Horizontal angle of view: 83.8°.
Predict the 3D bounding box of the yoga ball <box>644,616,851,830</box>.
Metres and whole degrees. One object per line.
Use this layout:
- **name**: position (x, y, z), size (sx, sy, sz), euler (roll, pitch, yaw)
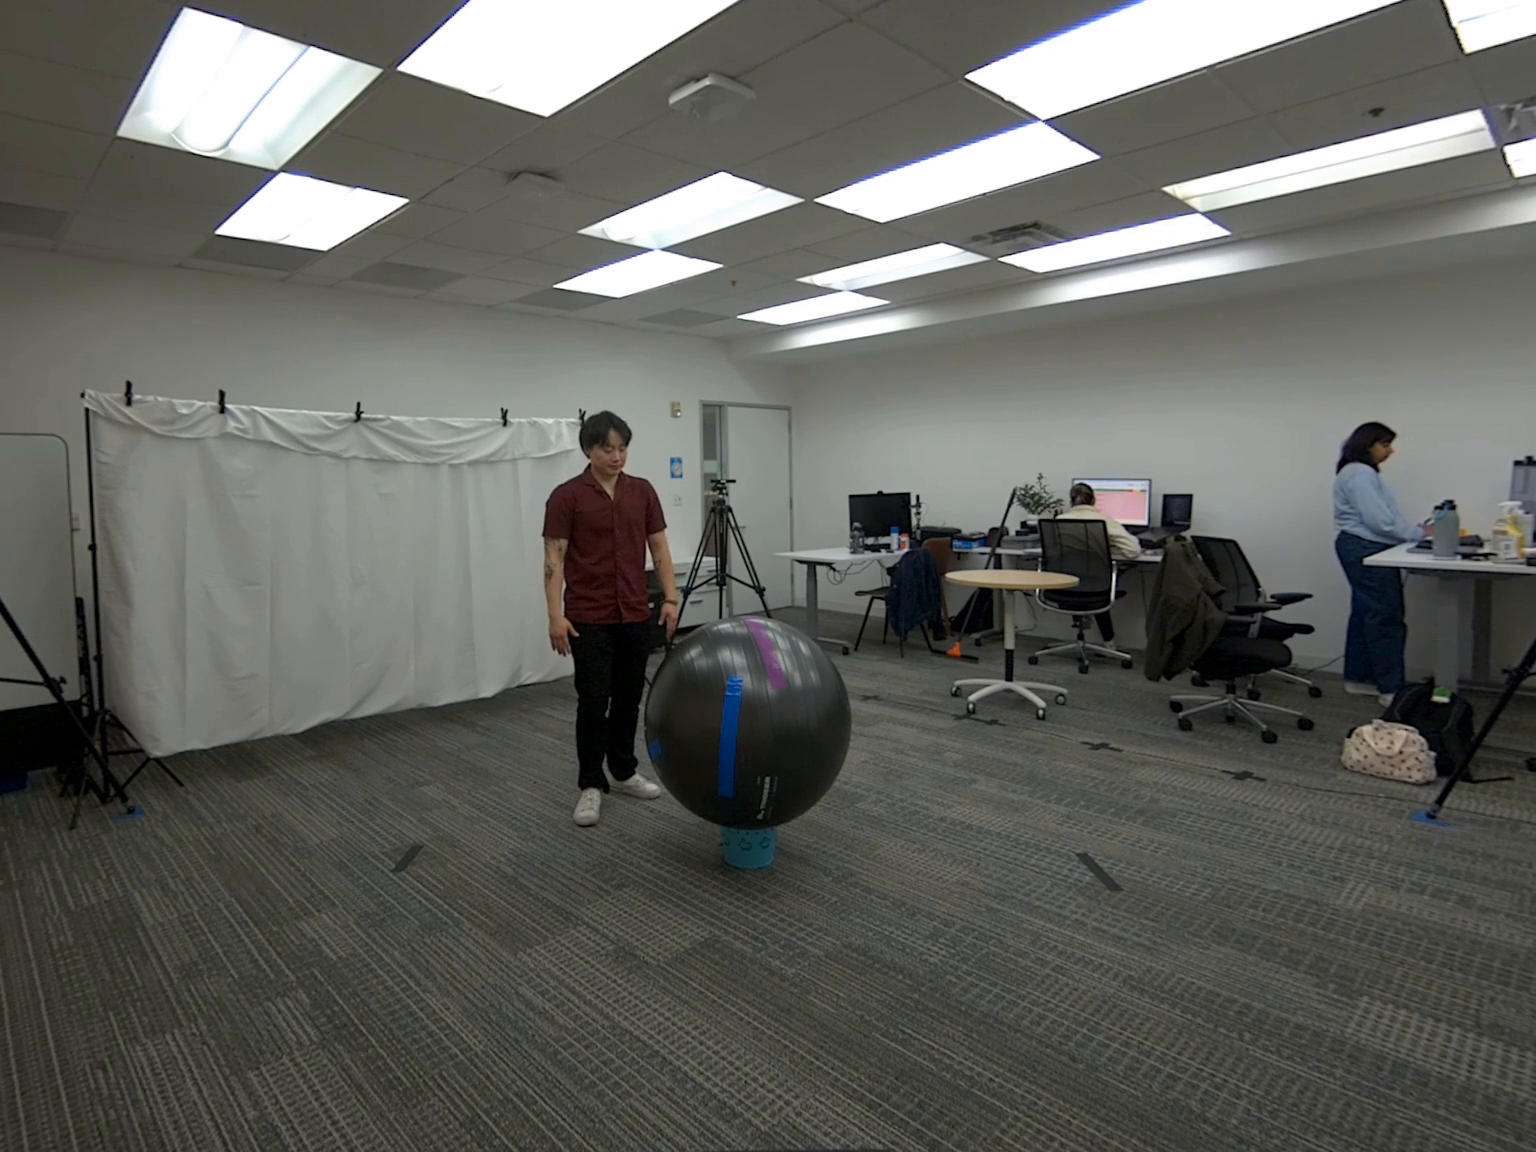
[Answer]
- **yoga ball**: position (-0.073, 0.531, 3.135), size (0.757, 0.755, 0.762), euler (-1, 5, -2)
